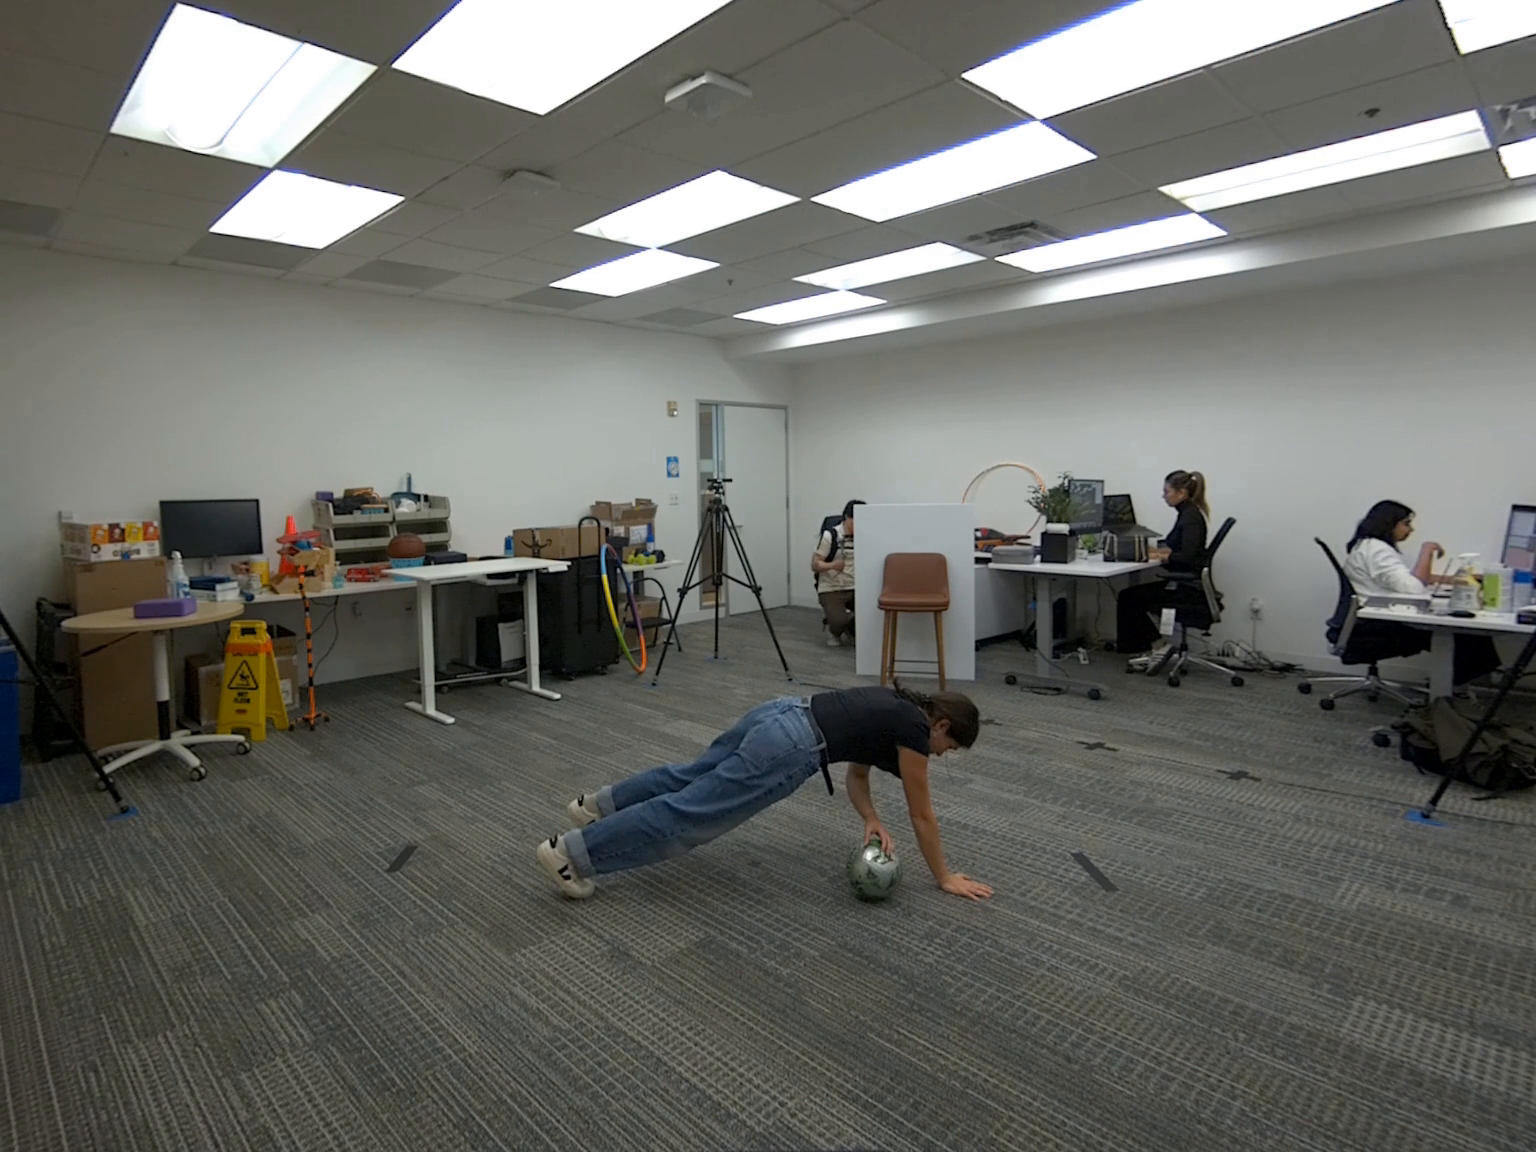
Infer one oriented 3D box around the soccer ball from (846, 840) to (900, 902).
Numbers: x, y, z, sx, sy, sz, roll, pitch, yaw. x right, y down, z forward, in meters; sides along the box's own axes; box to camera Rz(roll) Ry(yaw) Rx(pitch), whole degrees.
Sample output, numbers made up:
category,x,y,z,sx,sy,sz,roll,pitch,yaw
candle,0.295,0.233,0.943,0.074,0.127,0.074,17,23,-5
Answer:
category,x,y,z,sx,sy,sz,roll,pitch,yaw
soccer ball,0.351,0.966,2.849,0.187,0.187,0.188,-1,5,-2
